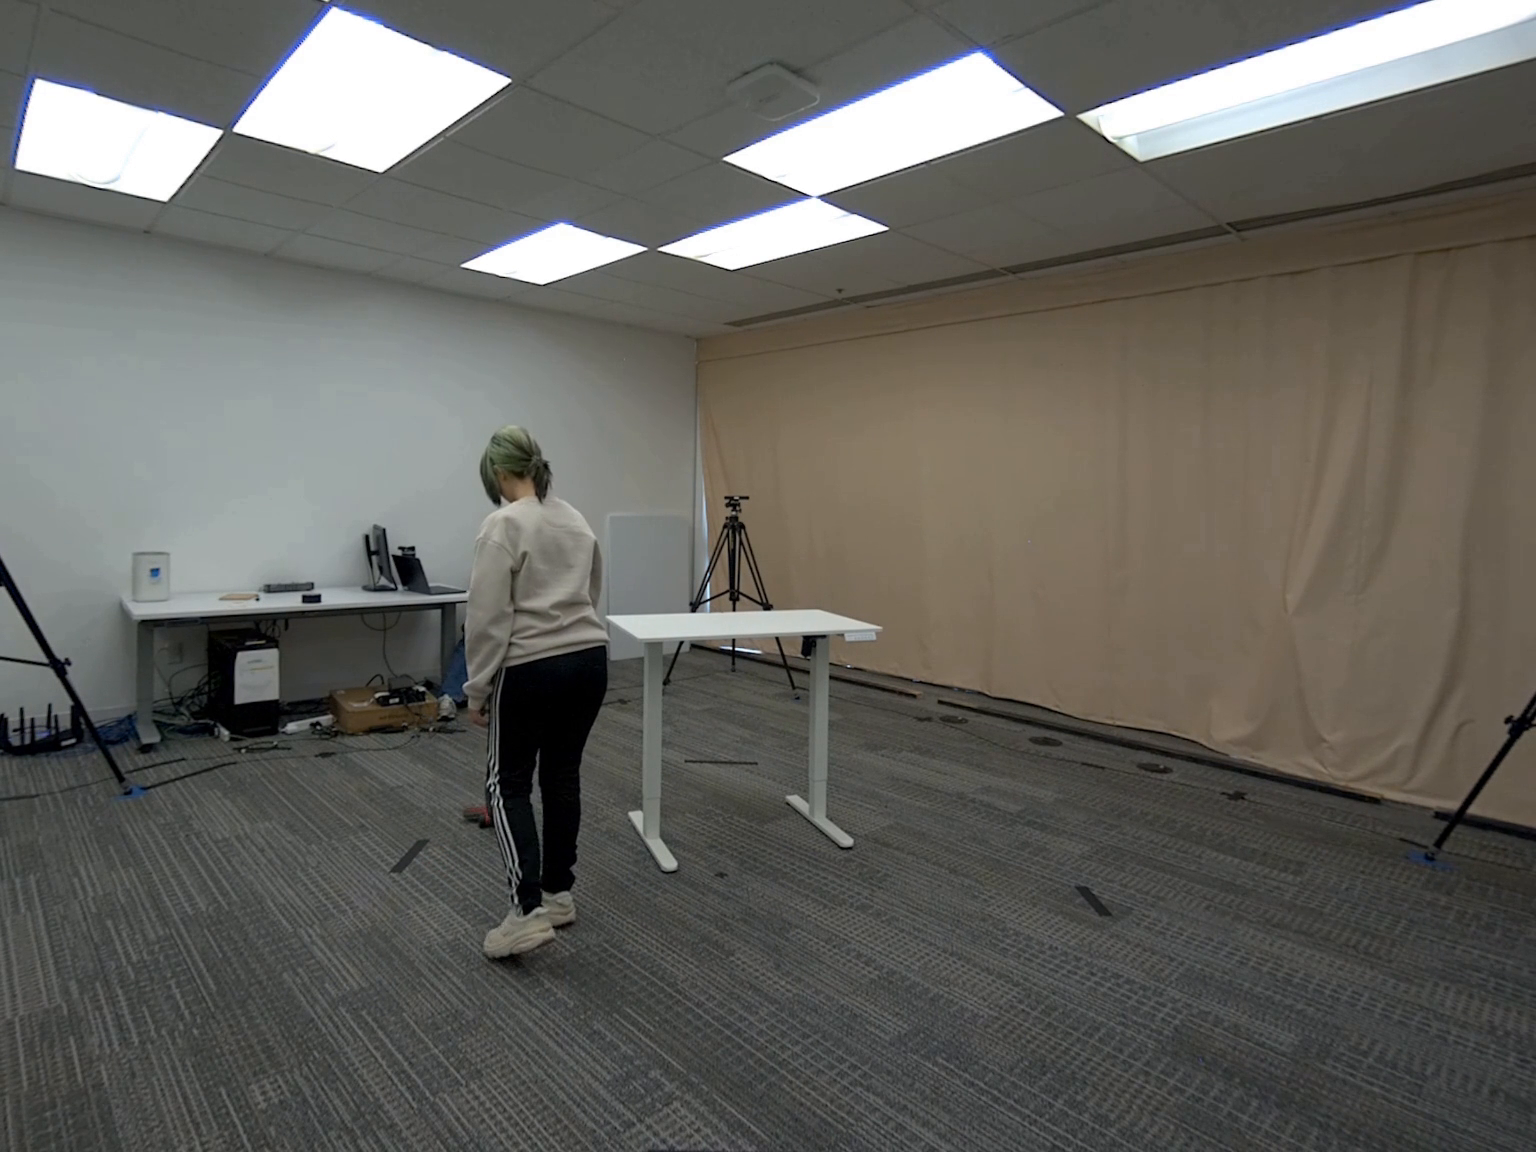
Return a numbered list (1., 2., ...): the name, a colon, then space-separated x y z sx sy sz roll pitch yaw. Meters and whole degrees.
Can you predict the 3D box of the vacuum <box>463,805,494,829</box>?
1. vacuum: -1.017 0.698 3.200 0.248 0.148 1.037 -1 -39 -23
